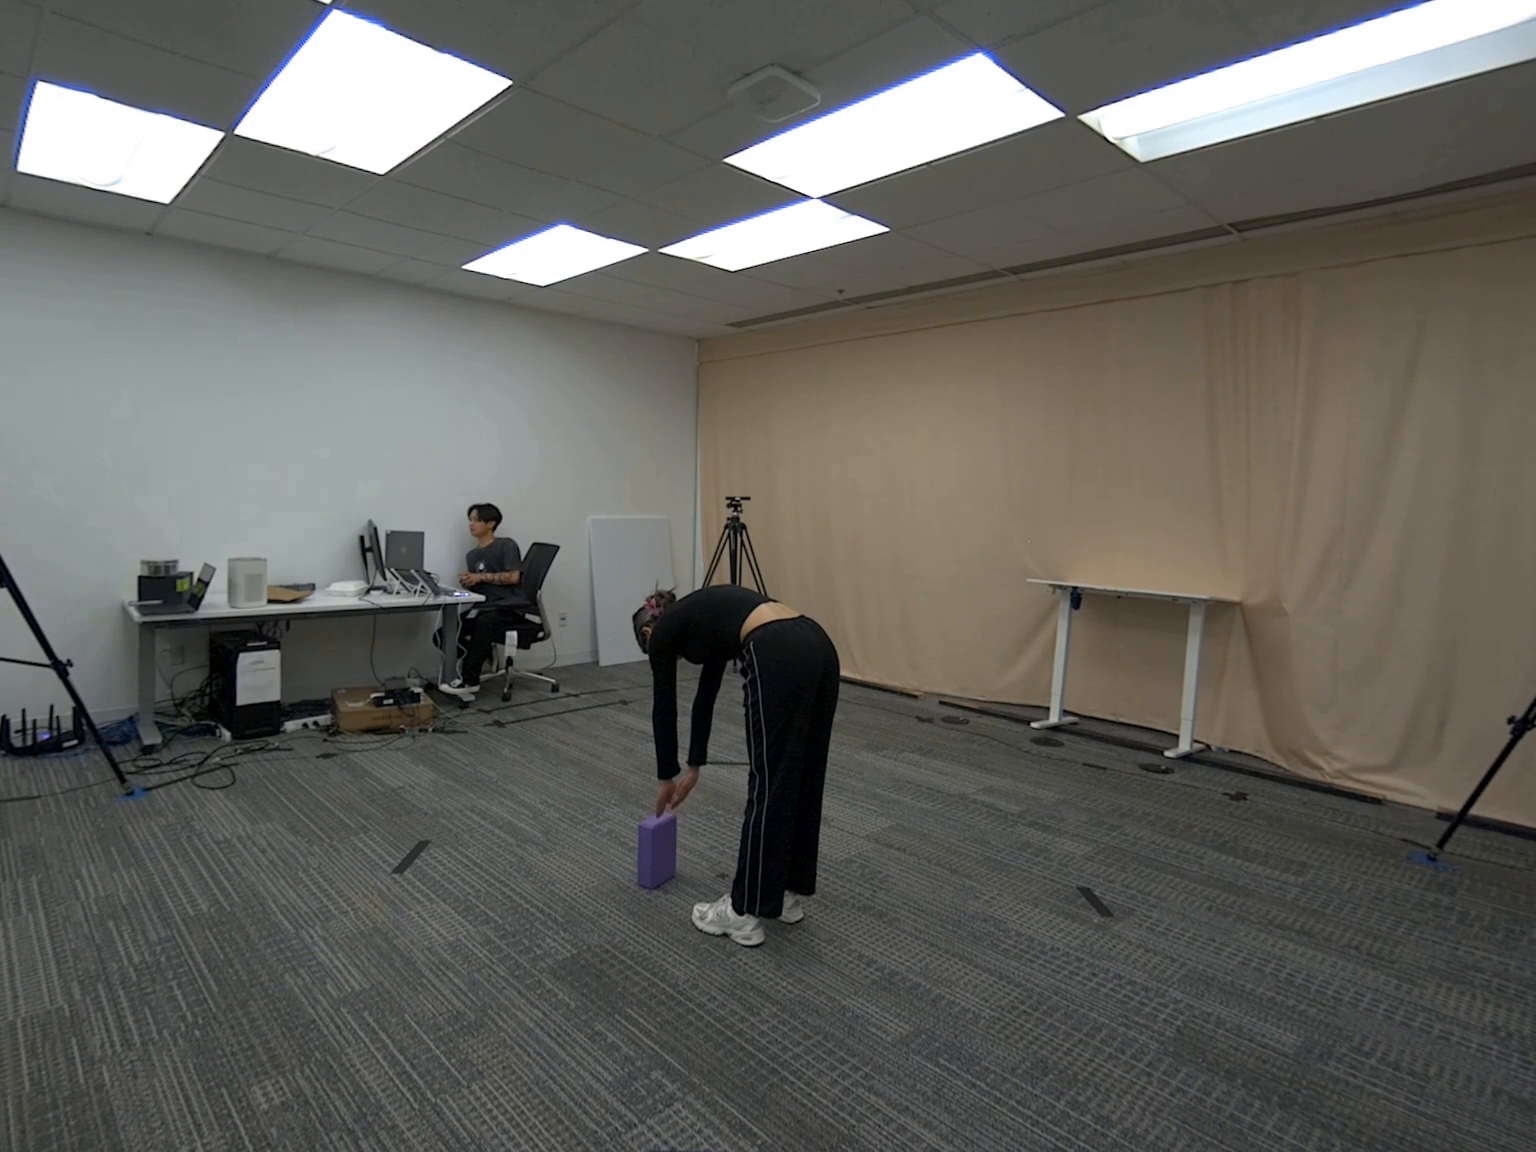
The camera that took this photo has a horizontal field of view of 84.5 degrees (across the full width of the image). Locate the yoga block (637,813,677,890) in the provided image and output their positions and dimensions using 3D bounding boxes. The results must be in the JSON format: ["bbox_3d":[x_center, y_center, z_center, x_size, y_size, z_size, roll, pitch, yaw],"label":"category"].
[{"bbox_3d":[-0.408,0.991,3.043,0.078,0.229,0.146,4,5,29],"label":"yoga block"}]
